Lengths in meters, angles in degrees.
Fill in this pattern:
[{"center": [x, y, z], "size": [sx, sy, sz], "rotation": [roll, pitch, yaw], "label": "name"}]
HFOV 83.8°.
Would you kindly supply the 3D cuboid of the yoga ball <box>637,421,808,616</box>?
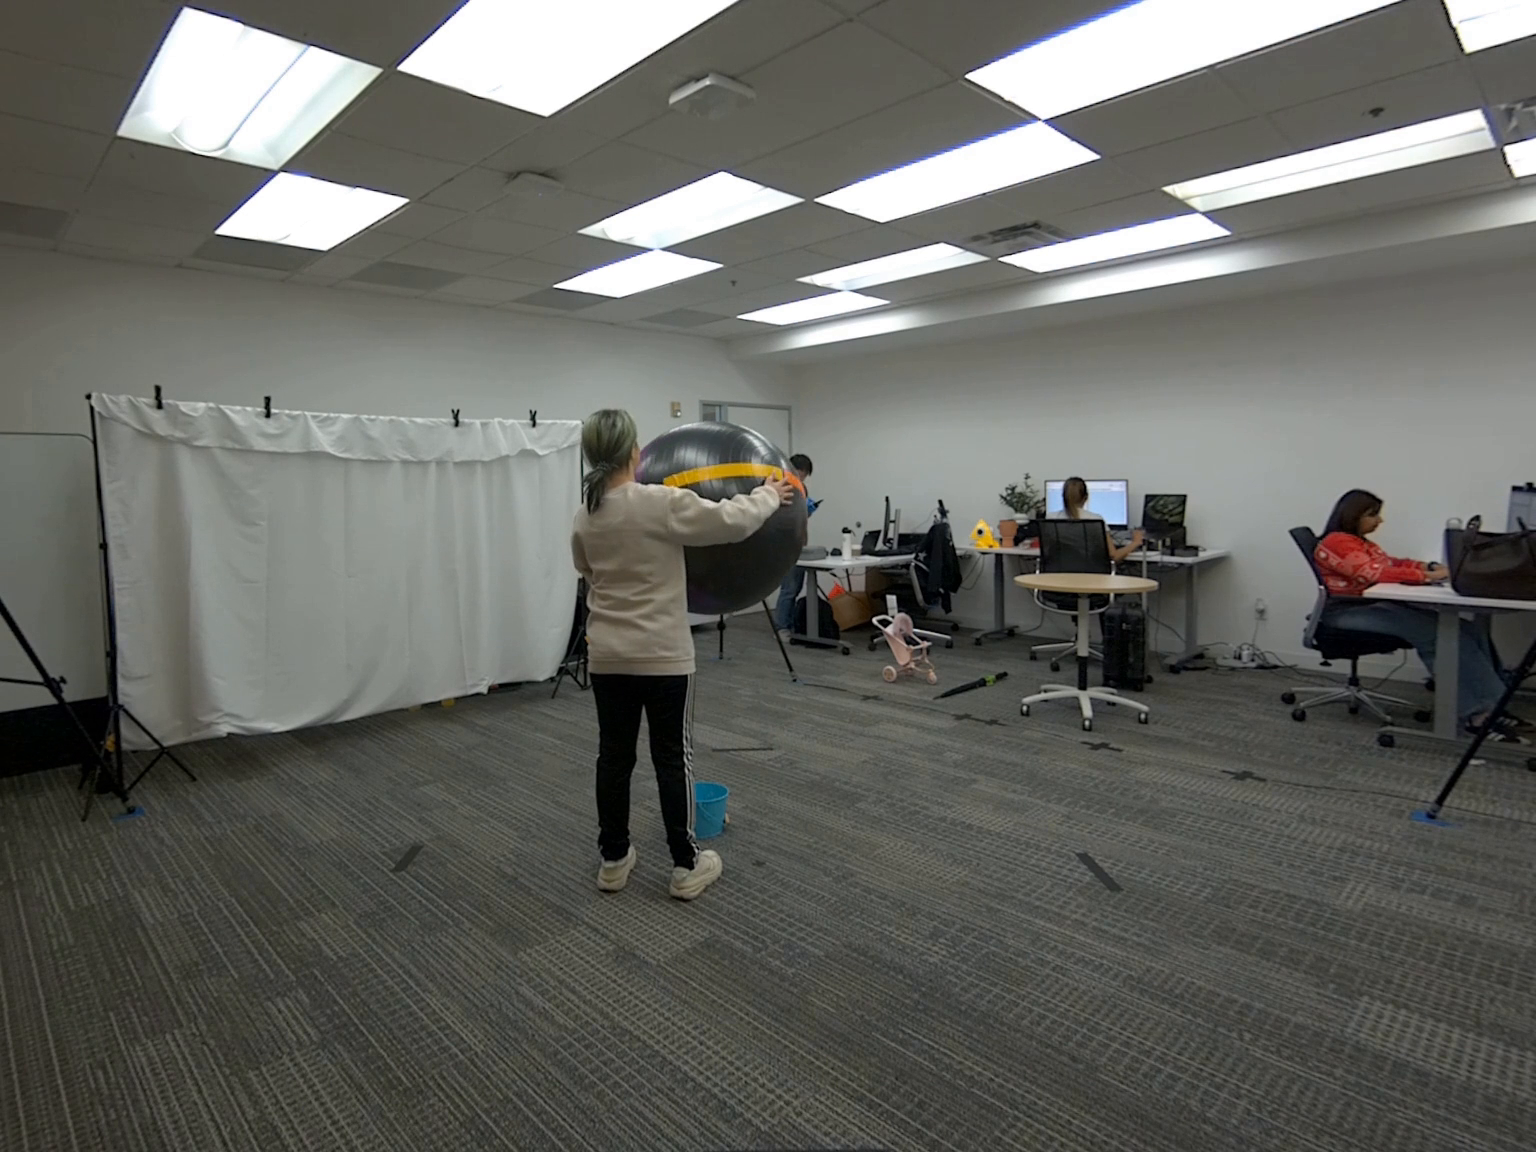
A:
[{"center": [-0.226, -0.226, 3.358], "size": [0.757, 0.755, 0.762], "rotation": [-1, 5, -2], "label": "yoga ball"}]
